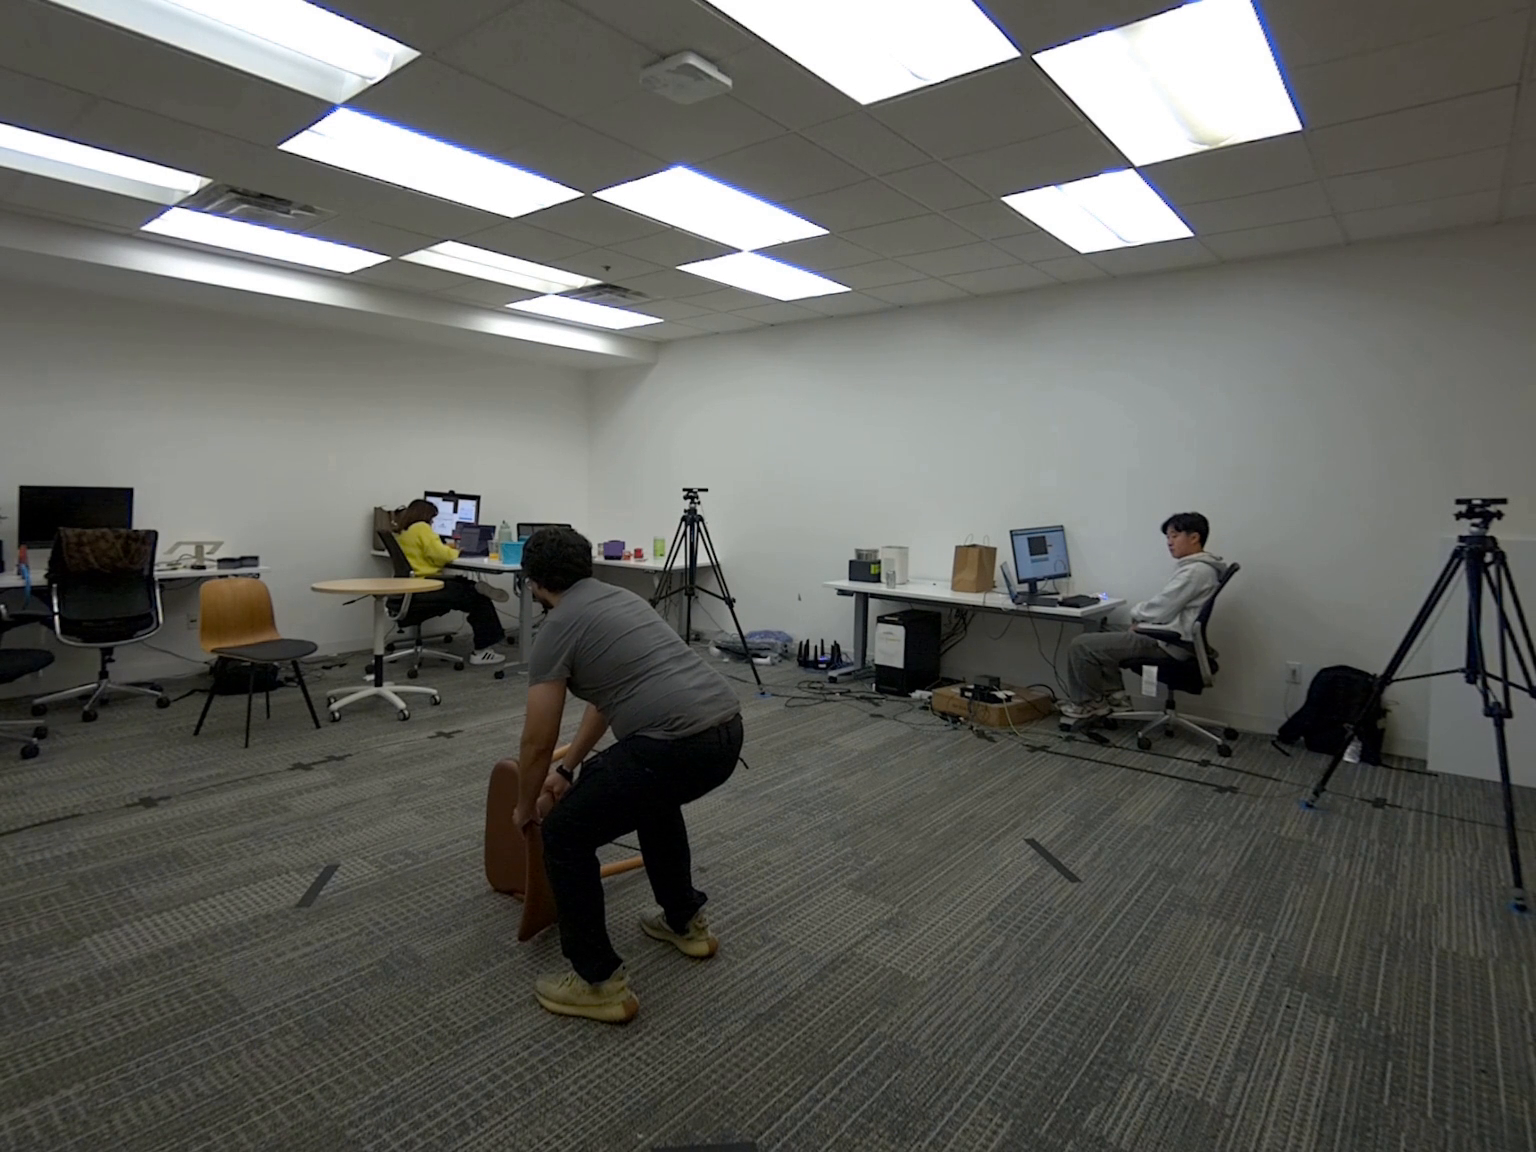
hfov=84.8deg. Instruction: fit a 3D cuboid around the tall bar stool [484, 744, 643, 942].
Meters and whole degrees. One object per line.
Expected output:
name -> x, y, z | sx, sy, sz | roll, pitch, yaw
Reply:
tall bar stool -> -0.710, 0.860, 2.967 | 0.481, 0.455, 0.867 | 6, 4, 27
